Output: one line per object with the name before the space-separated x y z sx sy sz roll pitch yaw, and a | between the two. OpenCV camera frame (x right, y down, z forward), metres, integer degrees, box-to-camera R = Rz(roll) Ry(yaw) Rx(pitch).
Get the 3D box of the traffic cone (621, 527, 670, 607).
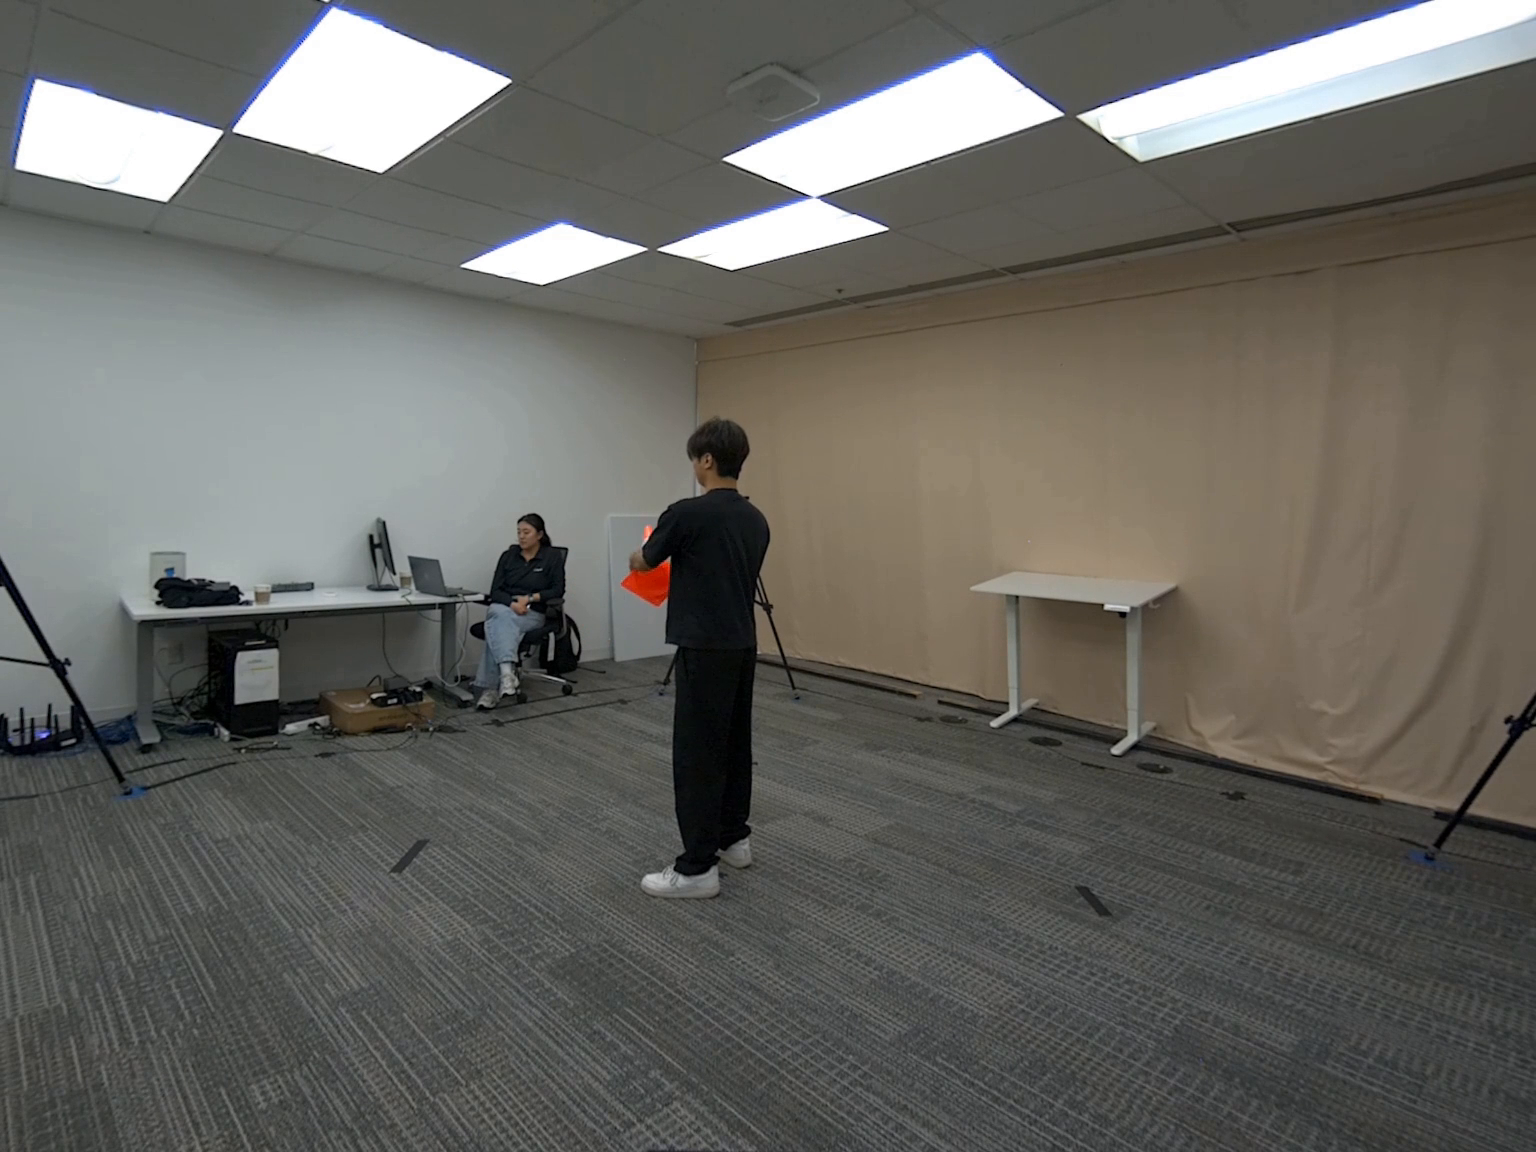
traffic cone | -0.504 -0.093 3.561 0.199 0.204 0.393 24 28 -24
